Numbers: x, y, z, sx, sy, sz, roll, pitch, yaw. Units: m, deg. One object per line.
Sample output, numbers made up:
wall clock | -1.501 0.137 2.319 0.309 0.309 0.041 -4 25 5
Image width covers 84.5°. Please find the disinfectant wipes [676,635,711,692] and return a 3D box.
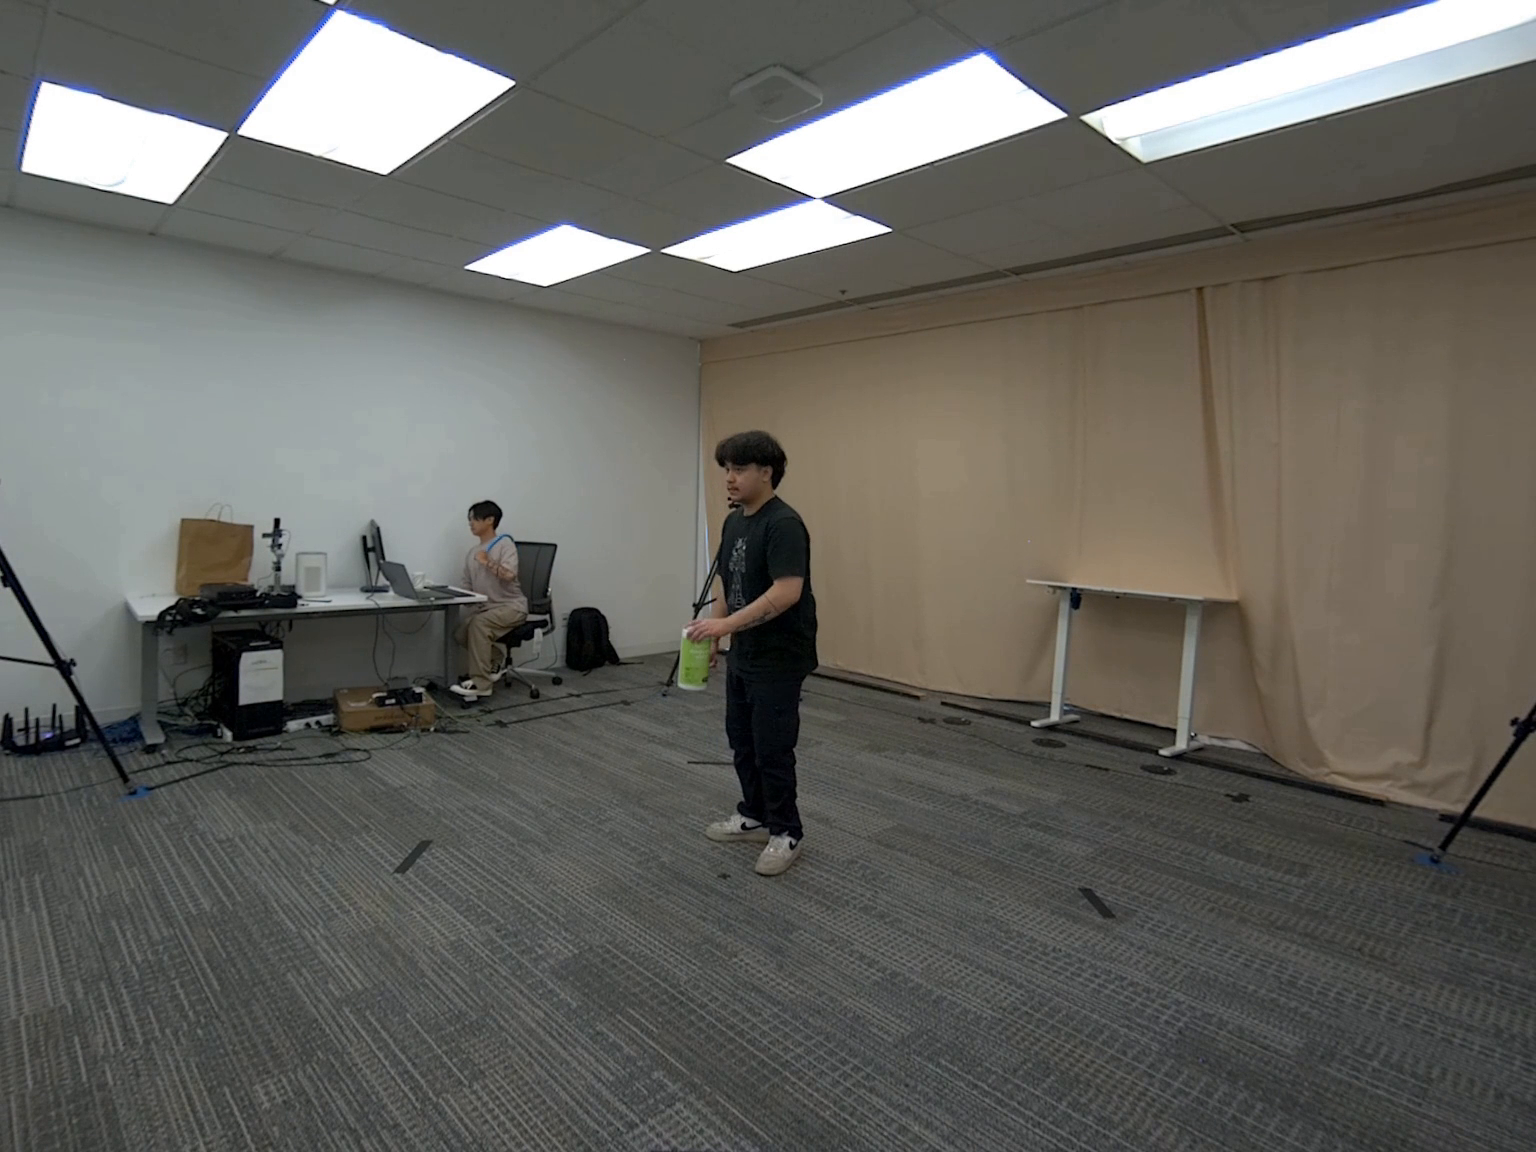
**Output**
disinfectant wipes | -0.271 0.302 3.036 0.117 0.216 0.118 6 7 -2
